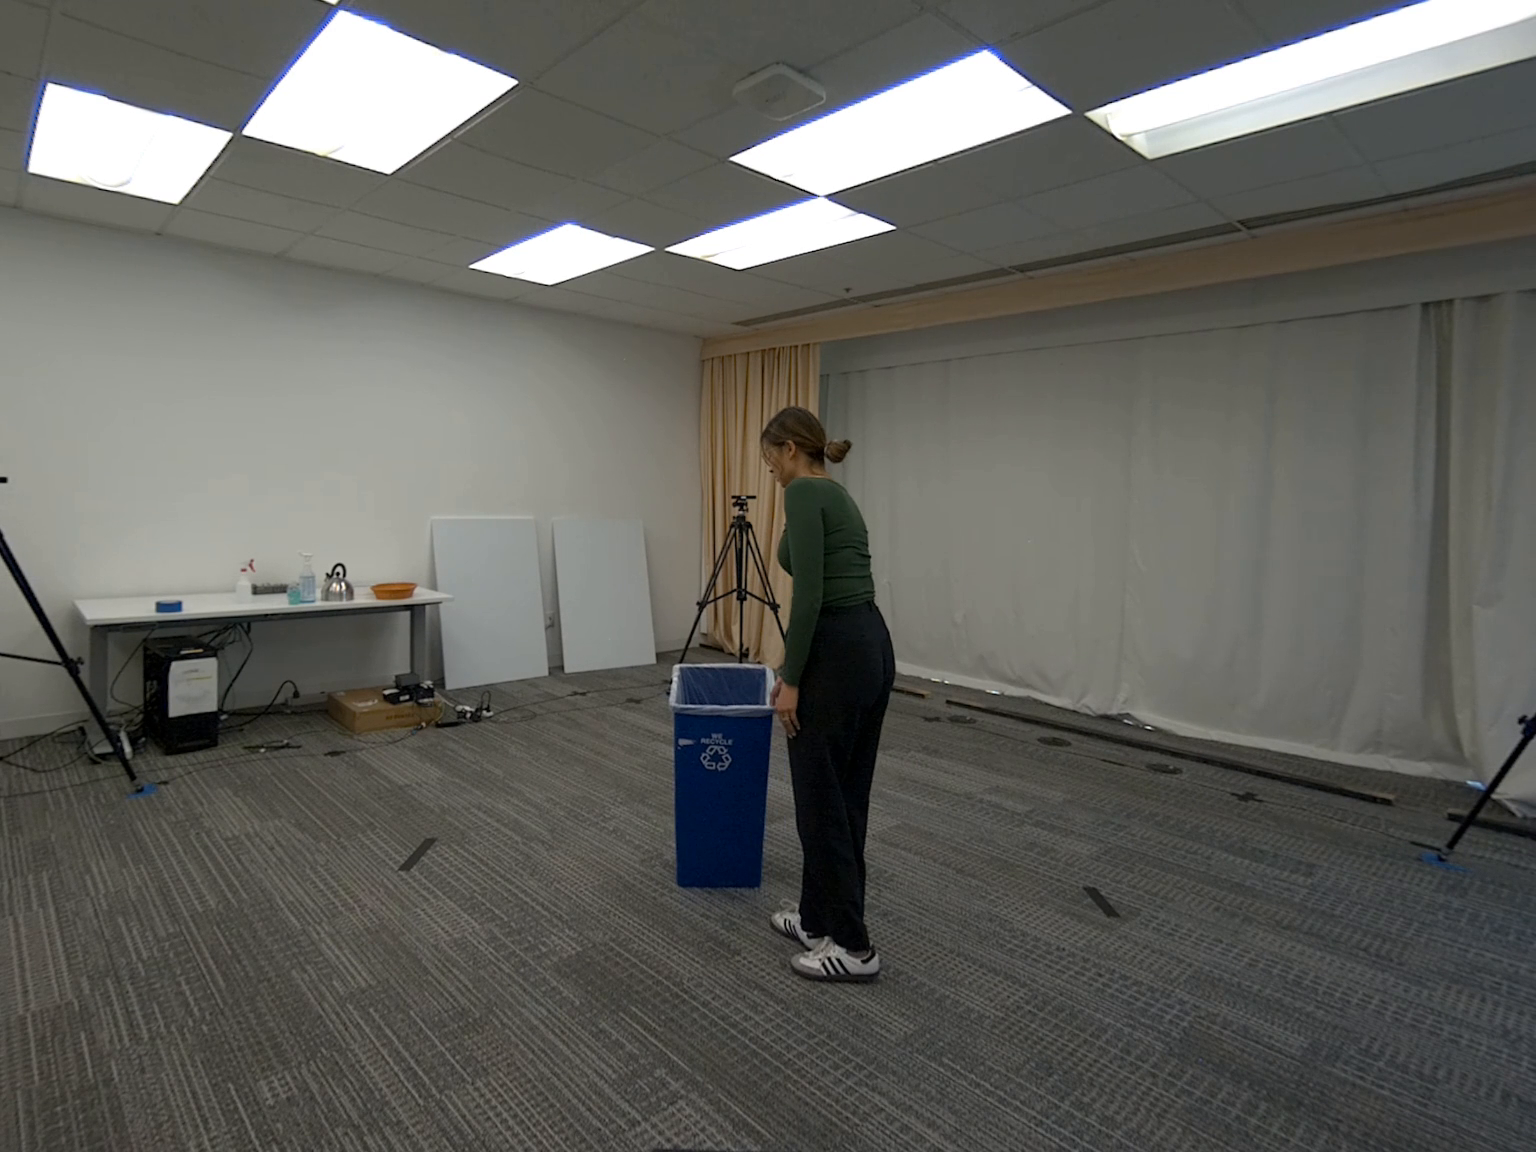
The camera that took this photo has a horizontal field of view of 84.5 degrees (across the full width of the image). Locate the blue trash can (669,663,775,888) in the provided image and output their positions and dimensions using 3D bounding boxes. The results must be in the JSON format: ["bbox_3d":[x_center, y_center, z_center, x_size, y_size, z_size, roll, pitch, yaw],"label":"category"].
[{"bbox_3d":[-0.189,0.732,3.057,0.378,0.705,0.378,2,17,0],"label":"blue trash can"}]
